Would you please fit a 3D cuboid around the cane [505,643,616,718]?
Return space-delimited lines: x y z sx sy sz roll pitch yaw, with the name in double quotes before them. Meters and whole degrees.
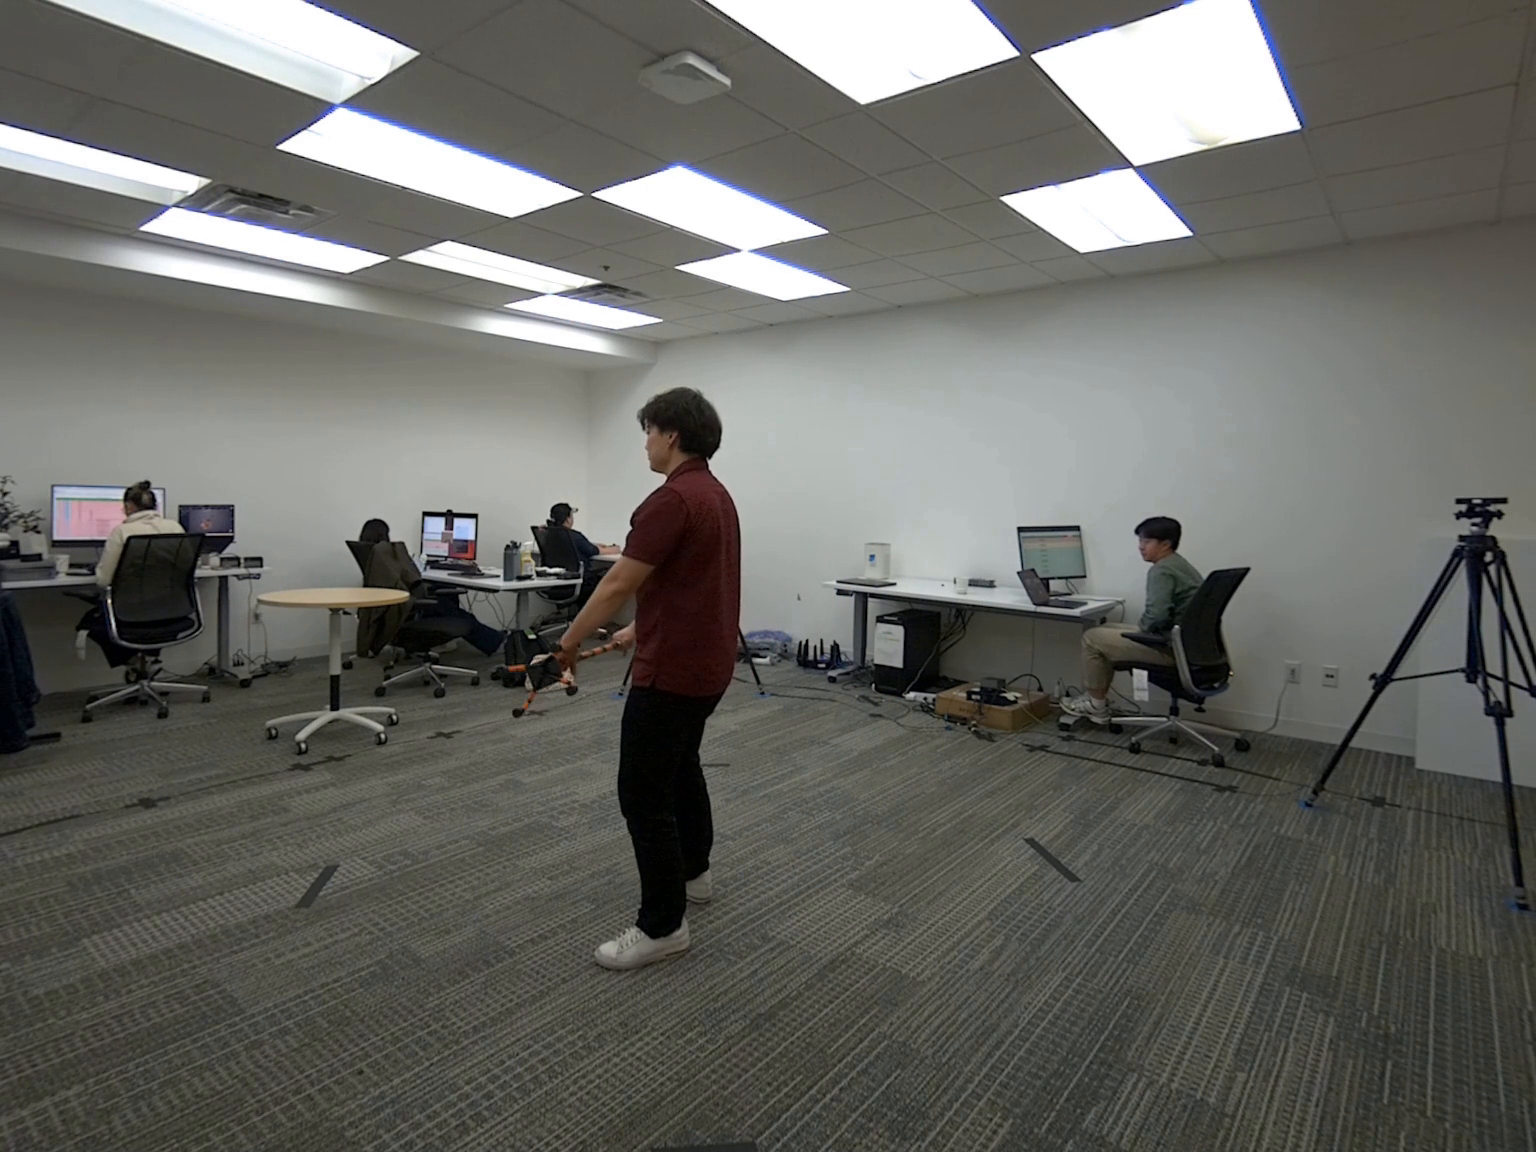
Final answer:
"cane" -0.547 0.236 2.746 0.208 0.152 0.896 -25 -1 15
